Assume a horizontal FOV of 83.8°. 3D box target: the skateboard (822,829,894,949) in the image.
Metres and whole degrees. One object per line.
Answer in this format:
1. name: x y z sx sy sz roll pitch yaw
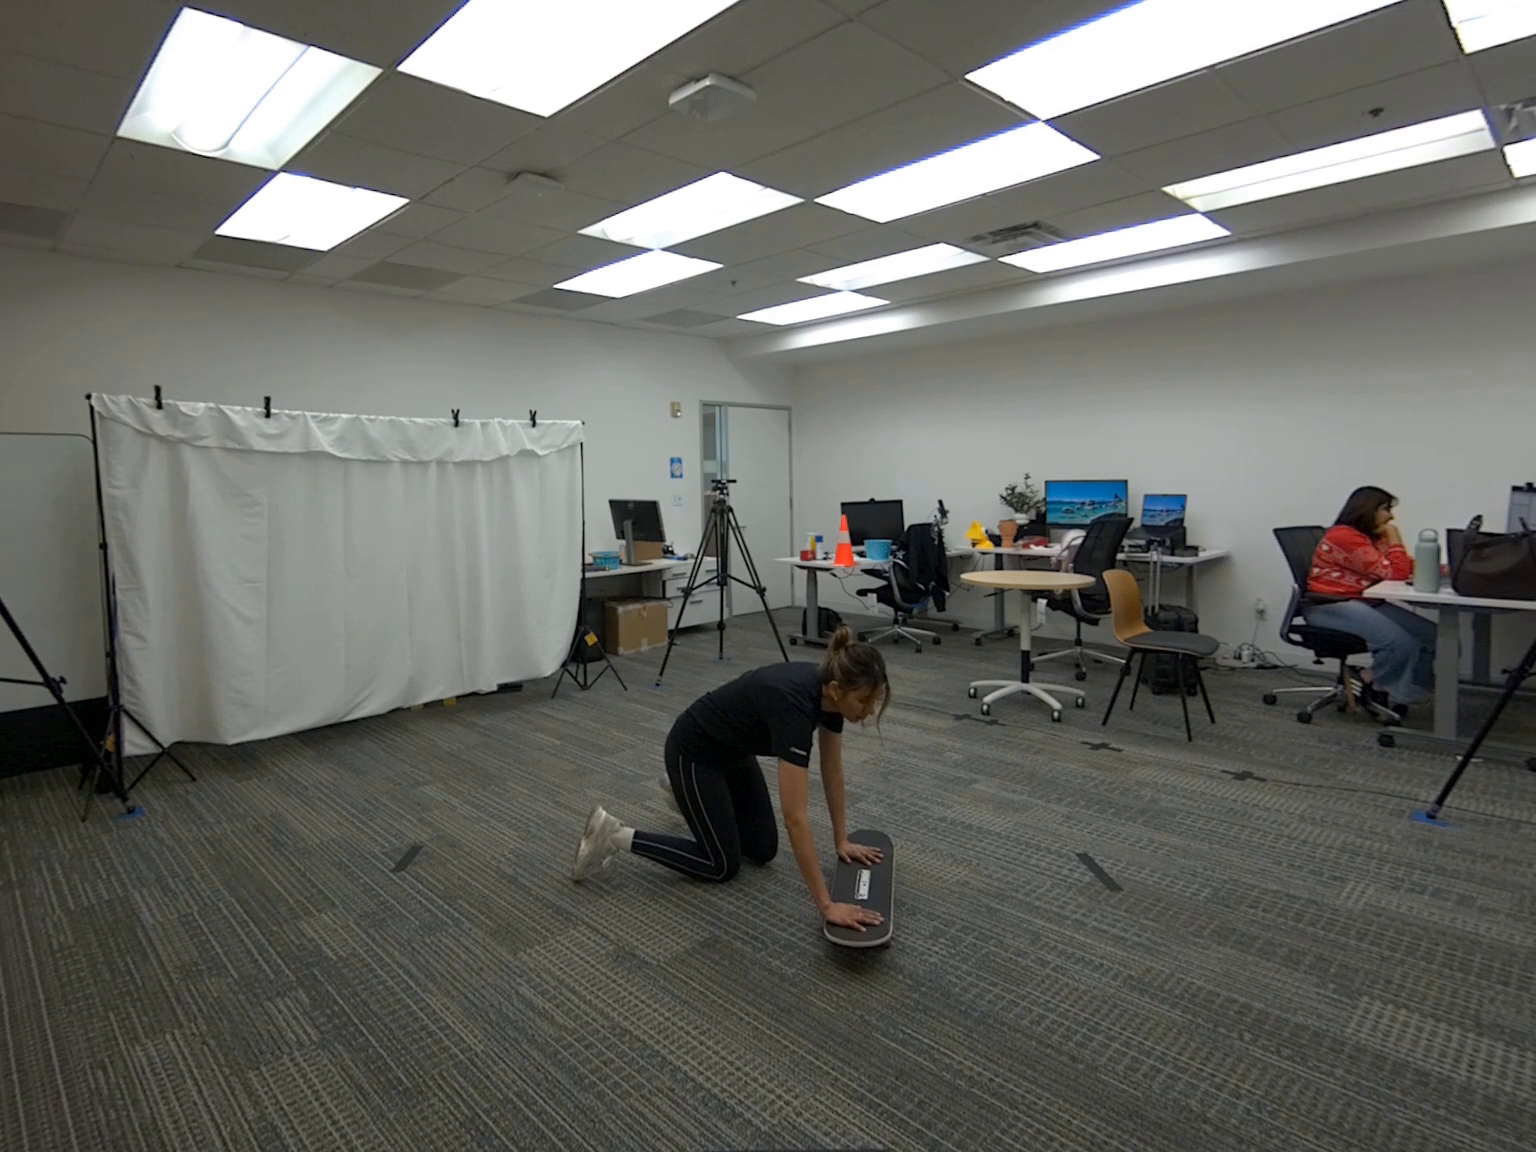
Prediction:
1. skateboard: 0.316 1.024 2.751 0.195 0.110 0.781 -1 6 10
